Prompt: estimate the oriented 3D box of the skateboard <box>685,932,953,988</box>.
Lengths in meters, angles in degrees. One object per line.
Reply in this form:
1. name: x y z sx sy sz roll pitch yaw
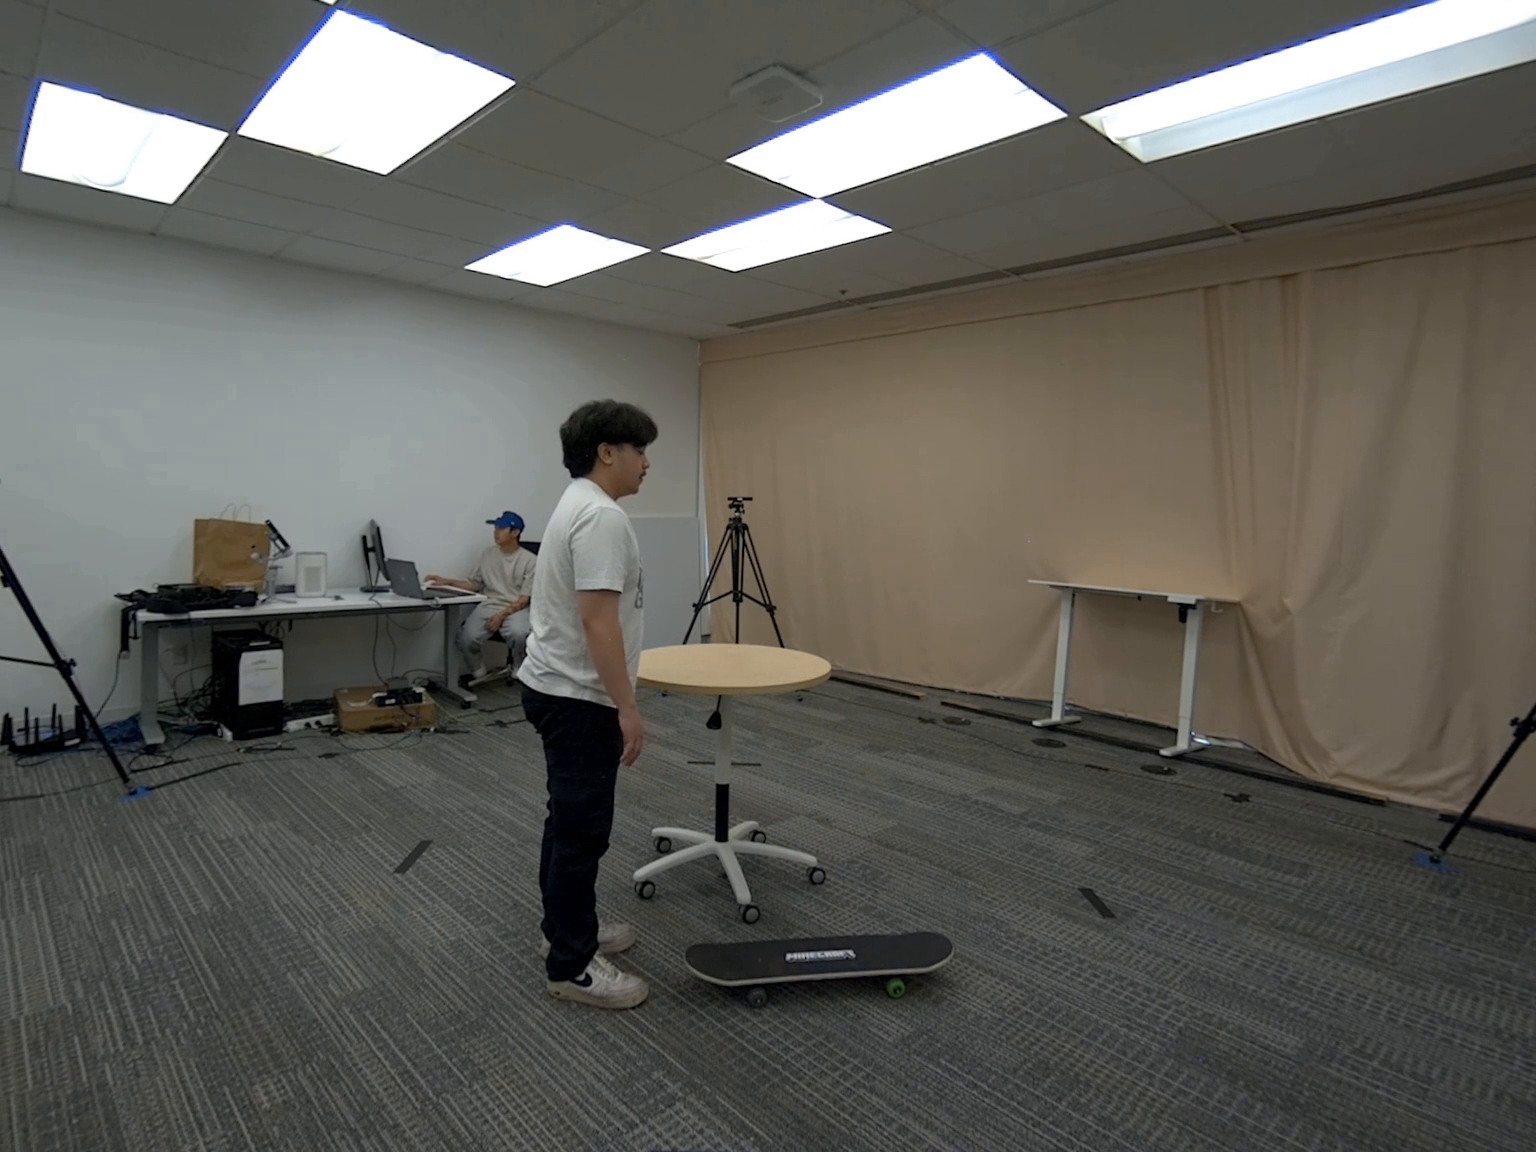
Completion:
1. skateboard: 0.143 1.121 2.418 0.780 0.110 0.195 1 5 -9
